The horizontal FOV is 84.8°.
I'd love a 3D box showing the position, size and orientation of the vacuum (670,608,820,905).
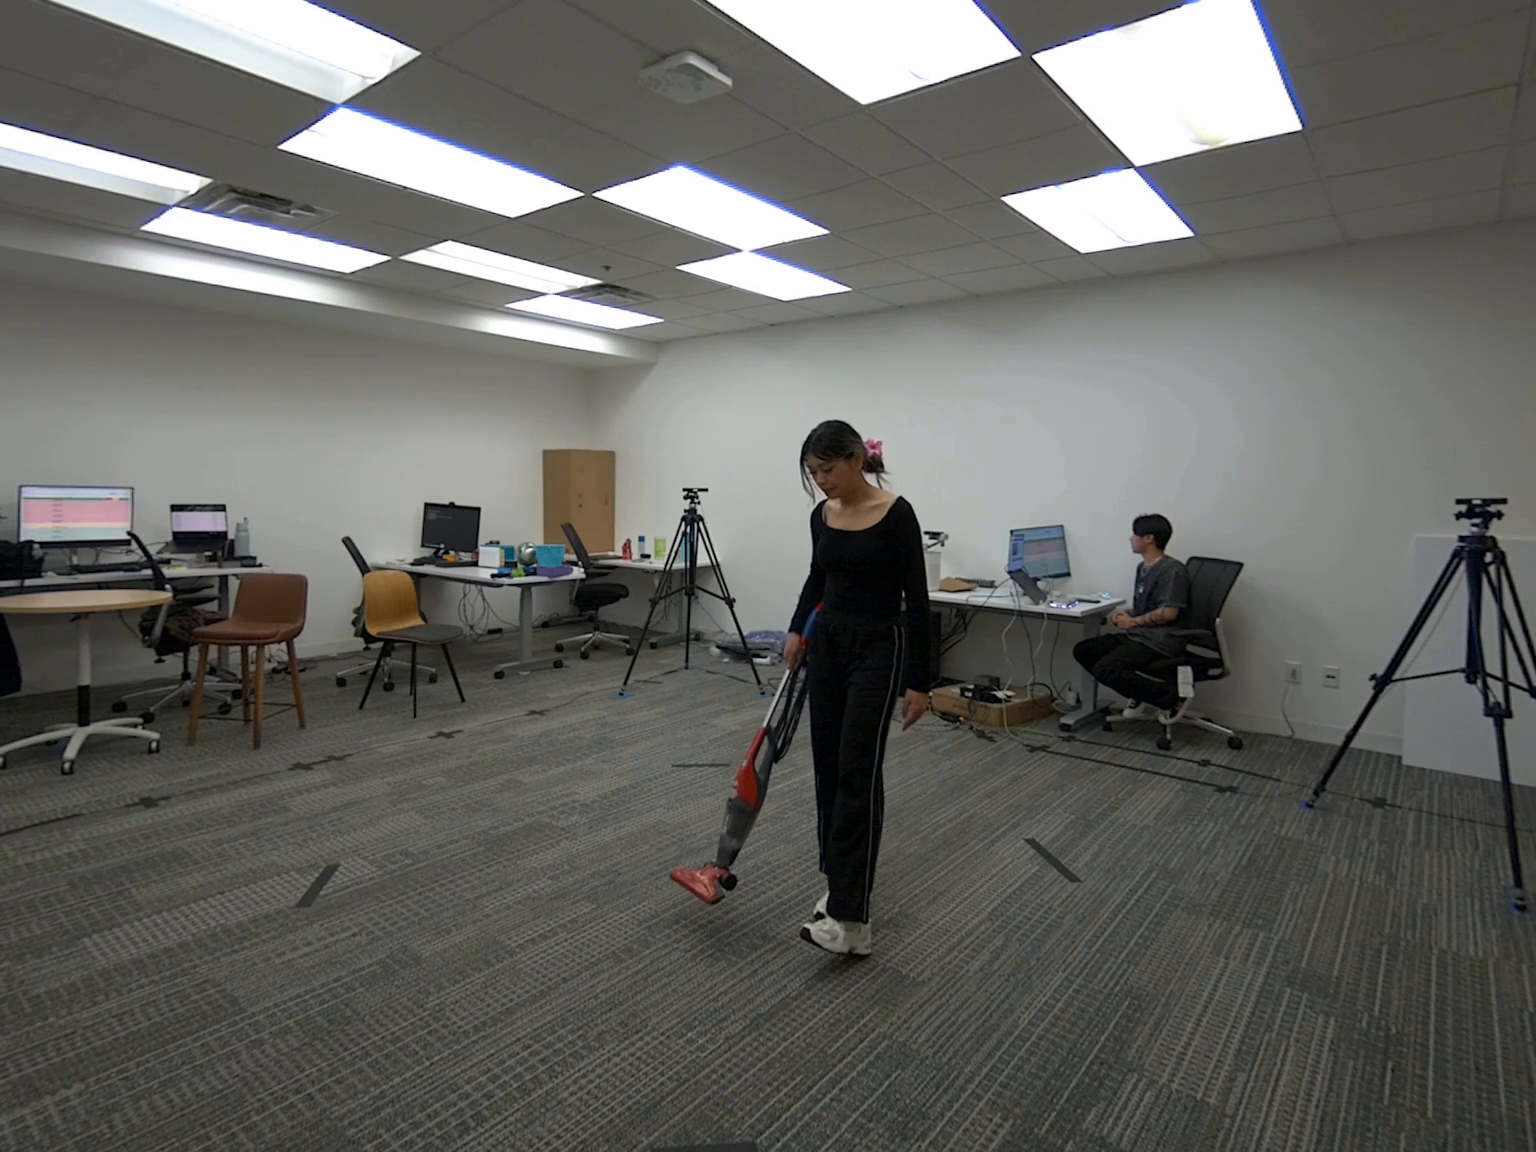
[{"bbox_3d":[-0.001,0.536,2.865,0.139,1.056,0.260,34,-19,-31],"label":"vacuum"}]
